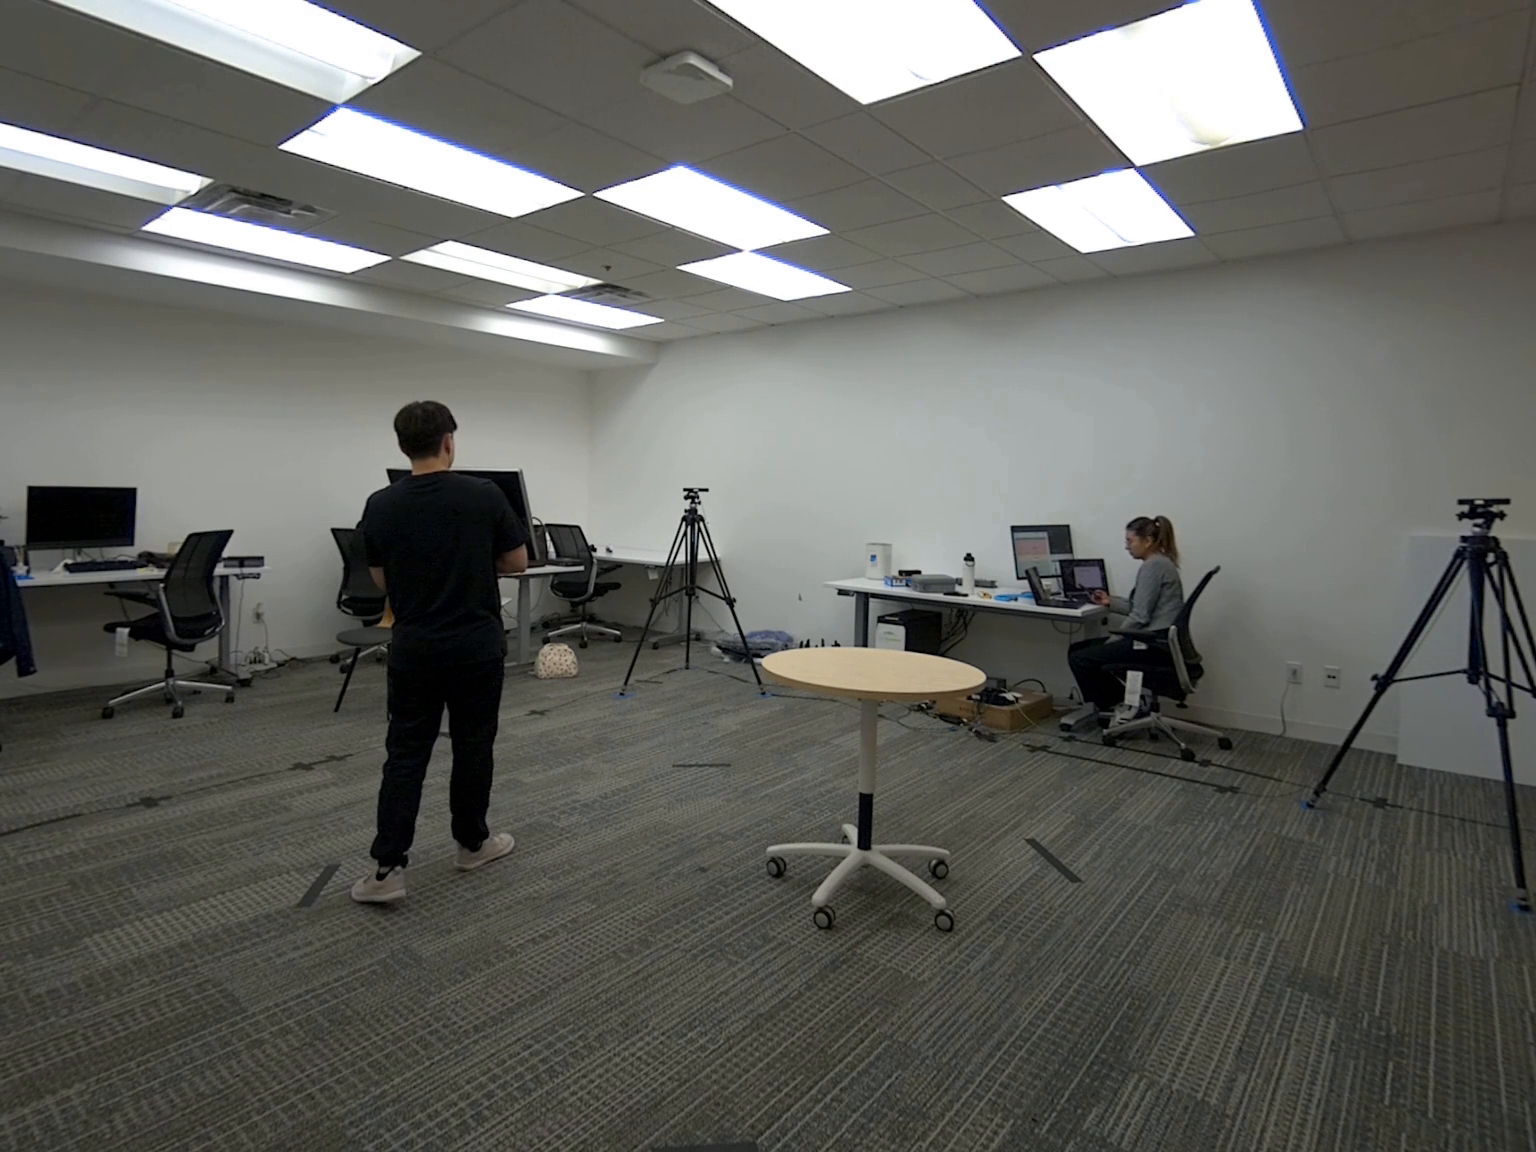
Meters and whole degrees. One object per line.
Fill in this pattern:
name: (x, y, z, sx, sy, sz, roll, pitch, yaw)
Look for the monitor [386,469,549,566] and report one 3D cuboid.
monitor: (-1.145, -0.132, 3.147, 0.548, 0.515, 0.186, 2, 15, 15)
